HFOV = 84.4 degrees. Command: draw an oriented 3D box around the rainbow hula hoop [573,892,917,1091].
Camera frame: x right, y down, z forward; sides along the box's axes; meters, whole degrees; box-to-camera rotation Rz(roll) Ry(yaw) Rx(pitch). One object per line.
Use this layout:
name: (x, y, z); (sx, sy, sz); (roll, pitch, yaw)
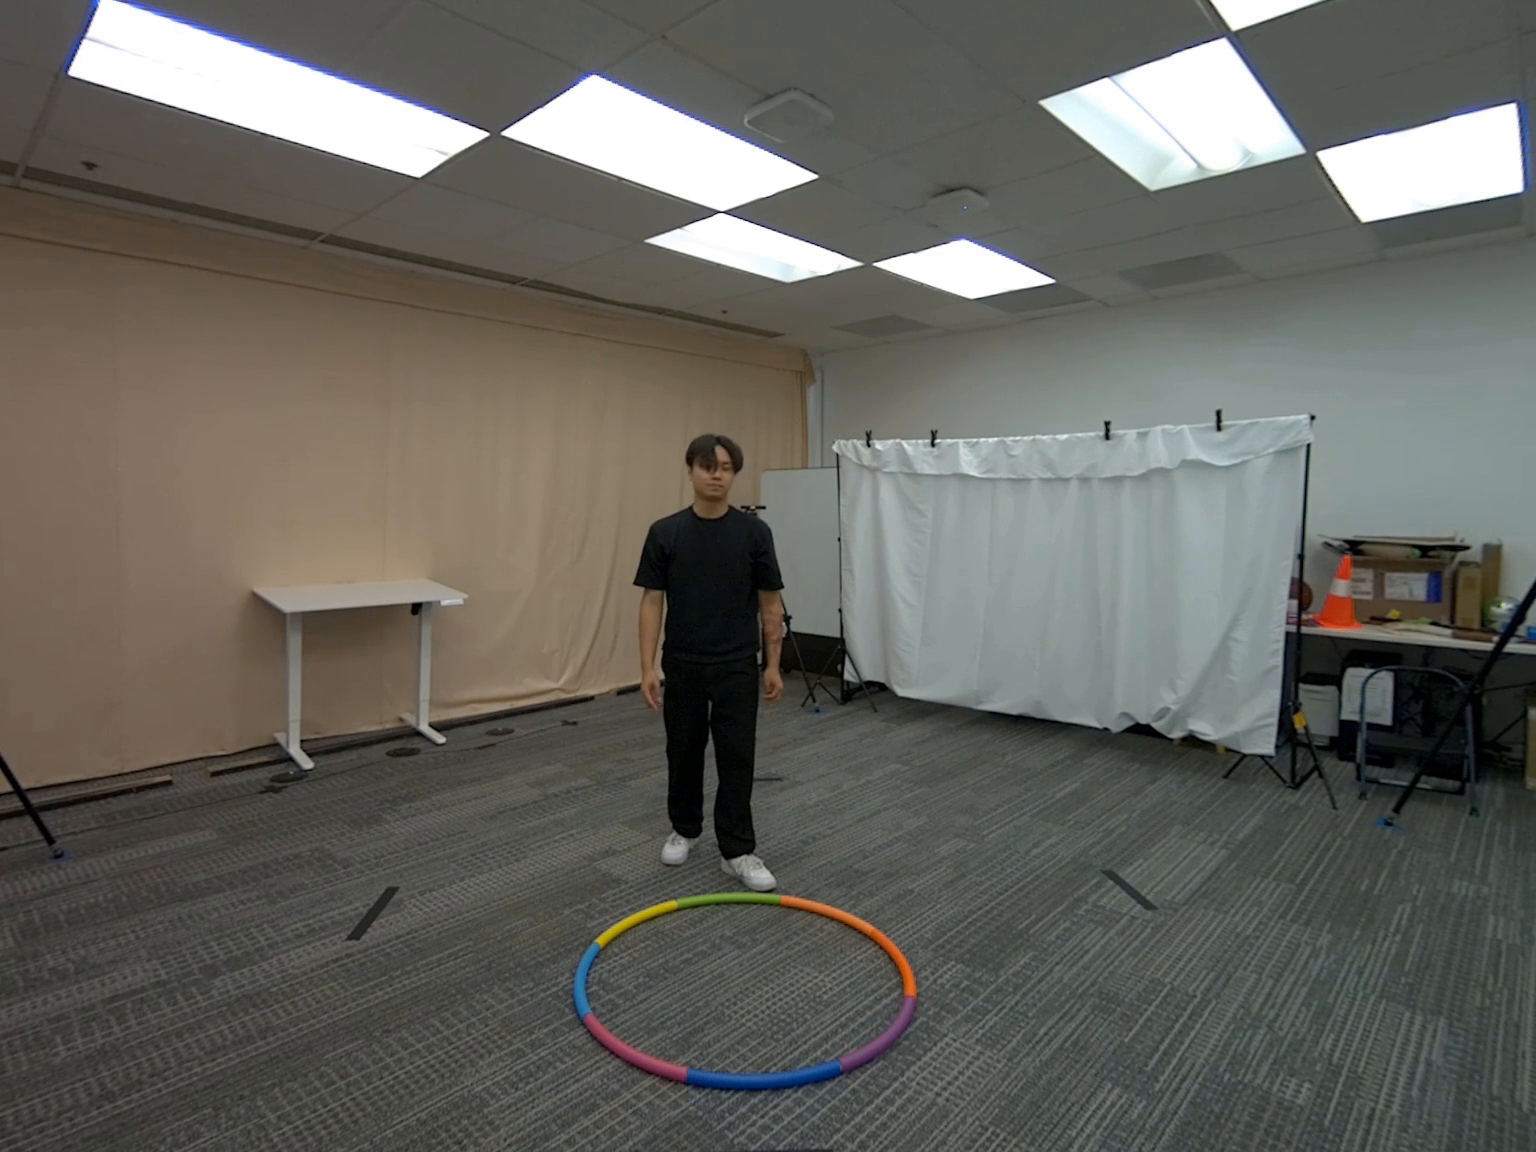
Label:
rainbow hula hoop: (-0.067, 1.154, 2.490); (0.978, 0.035, 0.982); (0, 5, -2)
